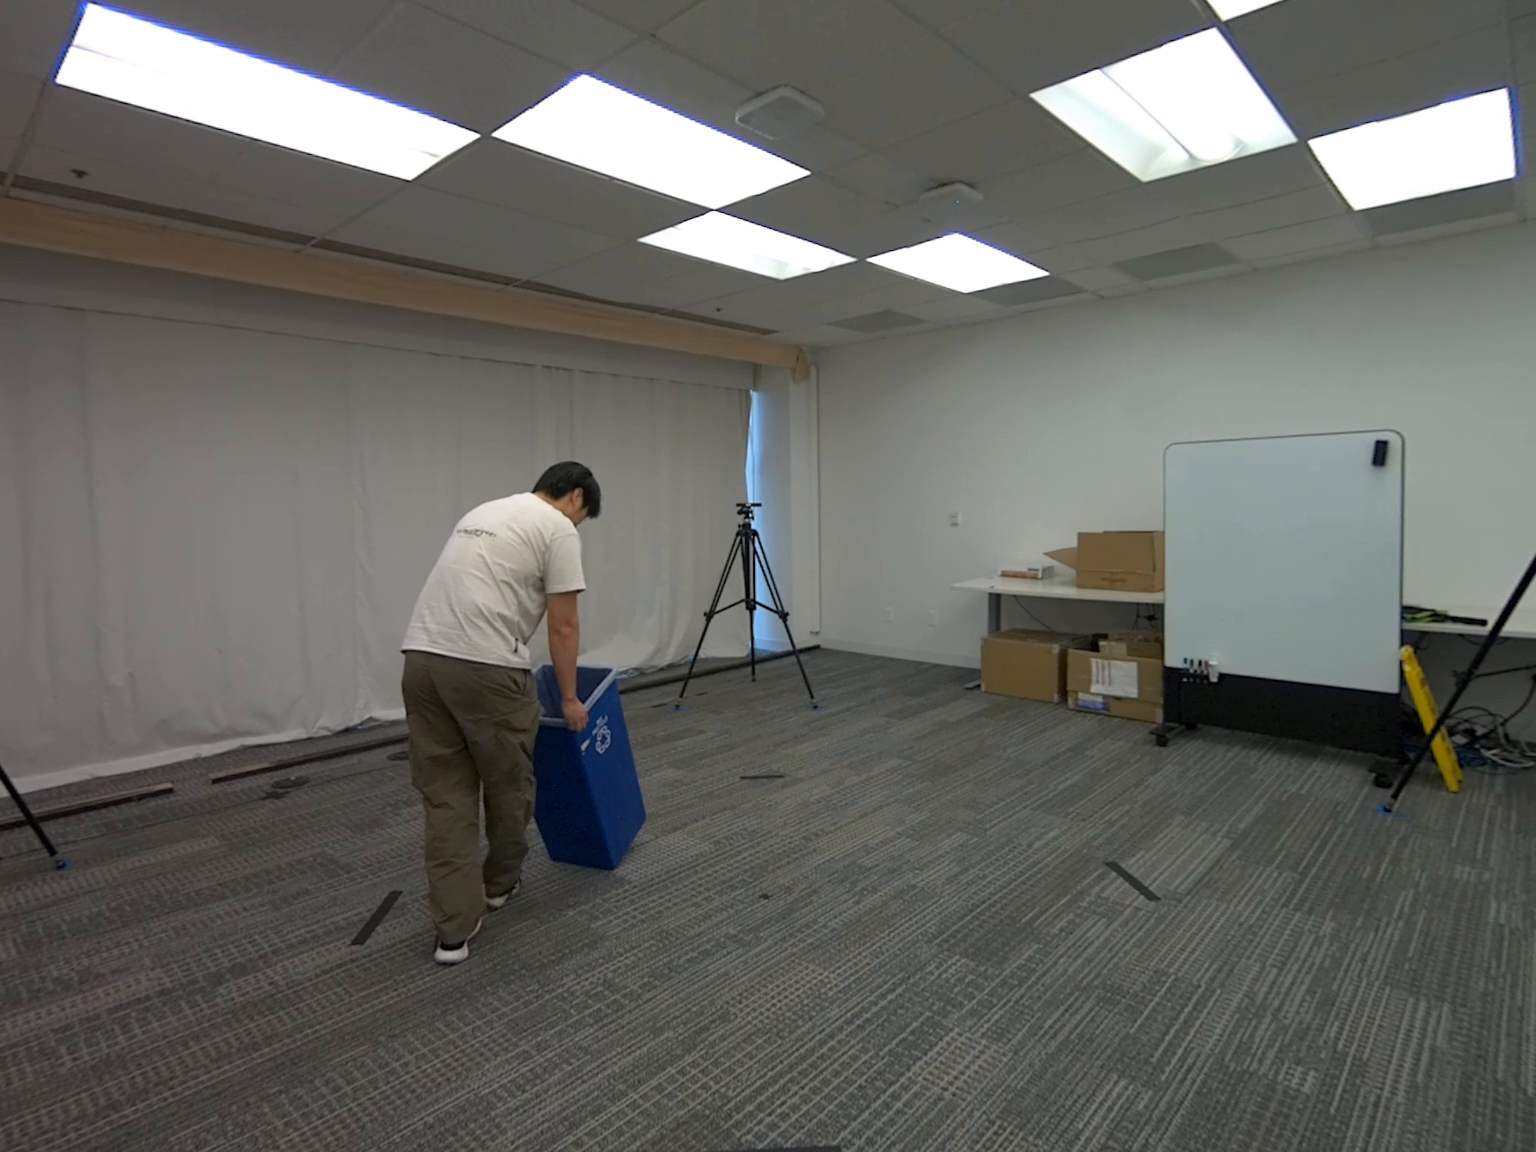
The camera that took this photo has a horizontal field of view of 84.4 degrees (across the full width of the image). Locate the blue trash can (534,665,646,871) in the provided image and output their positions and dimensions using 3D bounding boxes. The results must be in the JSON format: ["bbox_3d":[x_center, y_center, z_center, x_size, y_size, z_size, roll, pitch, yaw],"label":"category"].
[{"bbox_3d":[-0.736,0.741,3.270,0.387,0.701,0.372,0,26,21],"label":"blue trash can"}]
